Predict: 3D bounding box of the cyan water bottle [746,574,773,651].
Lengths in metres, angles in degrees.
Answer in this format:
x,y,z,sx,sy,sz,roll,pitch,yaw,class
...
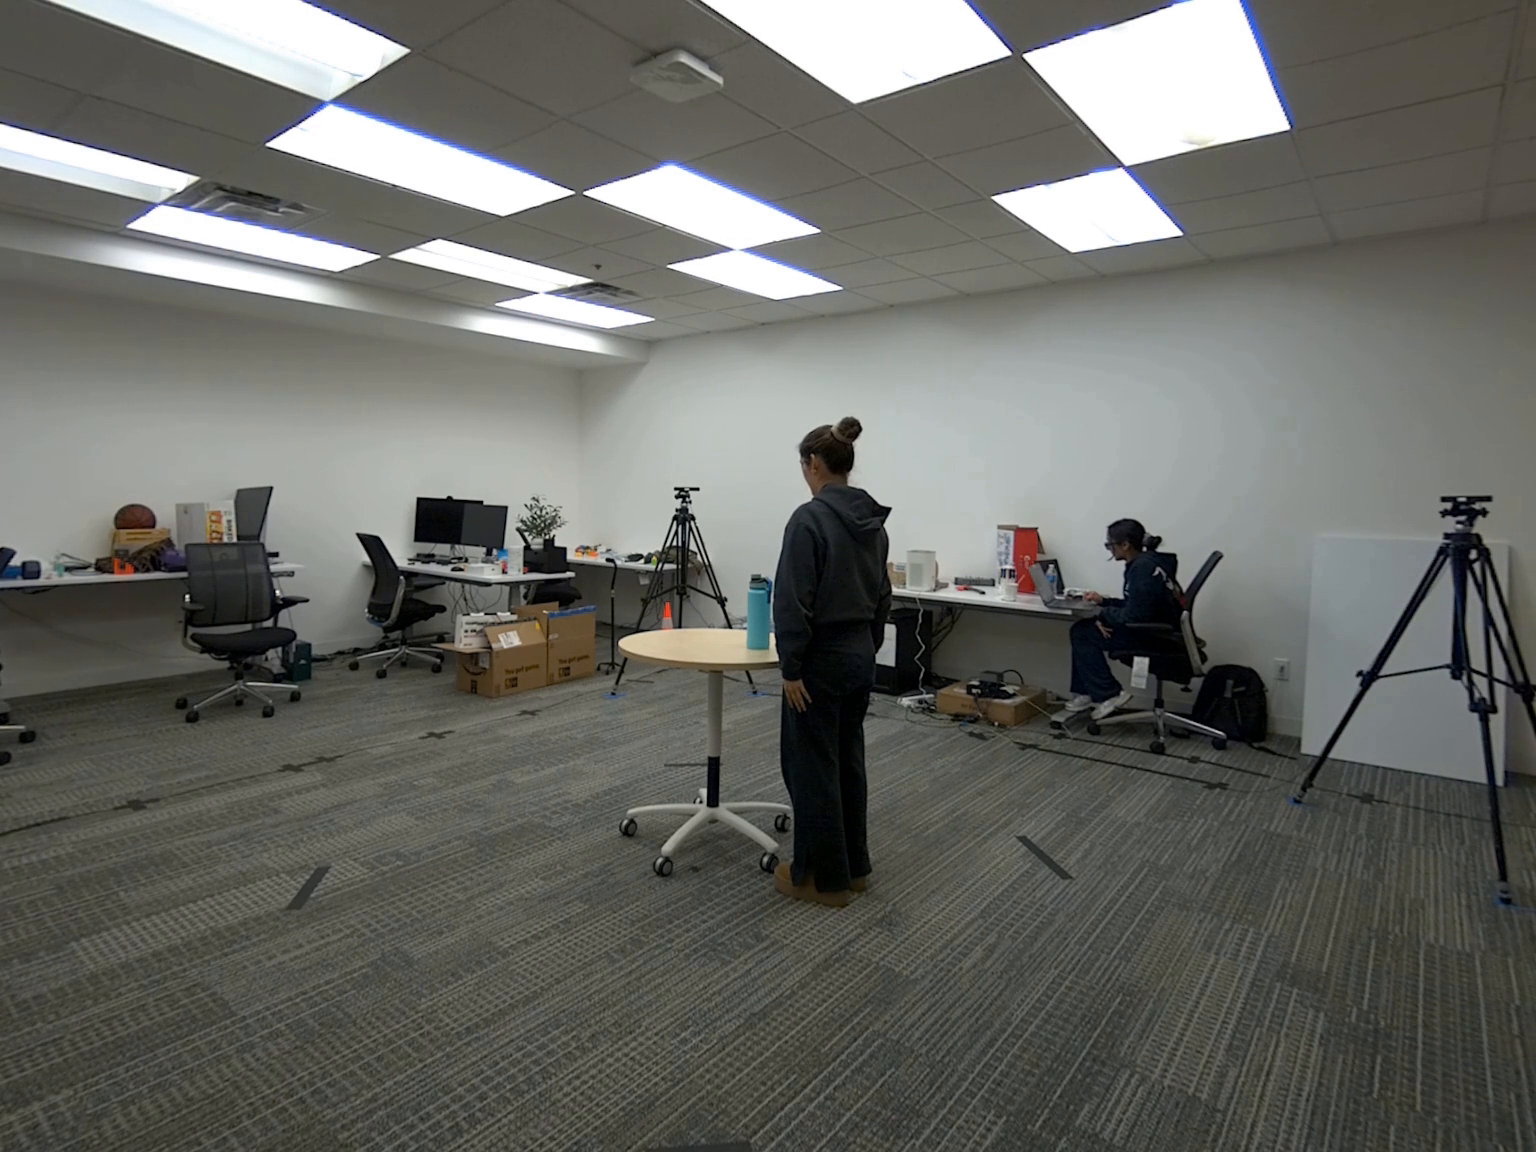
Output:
x,y,z,sx,sy,sz,roll,pitch,yaw,class
-0.037,0.134,3.258,0.092,0.283,0.092,5,2,-2,cyan water bottle
